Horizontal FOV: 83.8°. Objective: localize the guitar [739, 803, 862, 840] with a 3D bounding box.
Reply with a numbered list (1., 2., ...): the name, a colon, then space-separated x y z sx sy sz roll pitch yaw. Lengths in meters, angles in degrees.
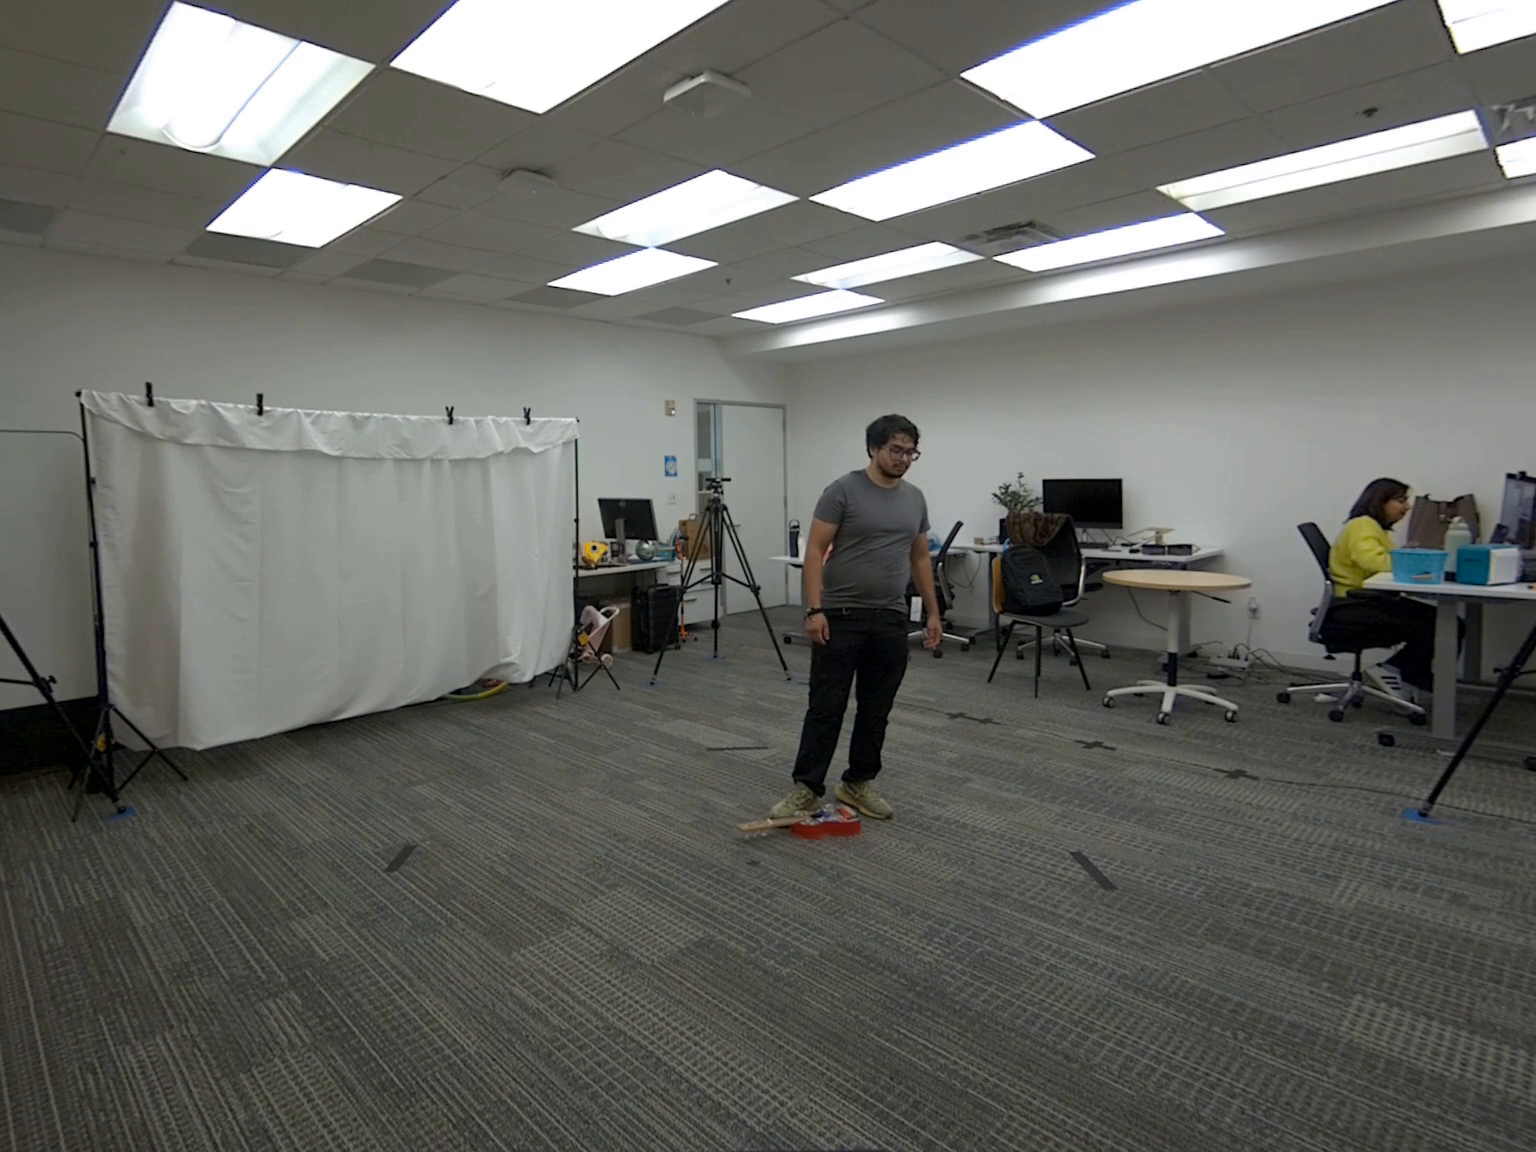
1. guitar: 0.120 0.974 3.380 0.493 0.070 0.196 -2 7 -10
